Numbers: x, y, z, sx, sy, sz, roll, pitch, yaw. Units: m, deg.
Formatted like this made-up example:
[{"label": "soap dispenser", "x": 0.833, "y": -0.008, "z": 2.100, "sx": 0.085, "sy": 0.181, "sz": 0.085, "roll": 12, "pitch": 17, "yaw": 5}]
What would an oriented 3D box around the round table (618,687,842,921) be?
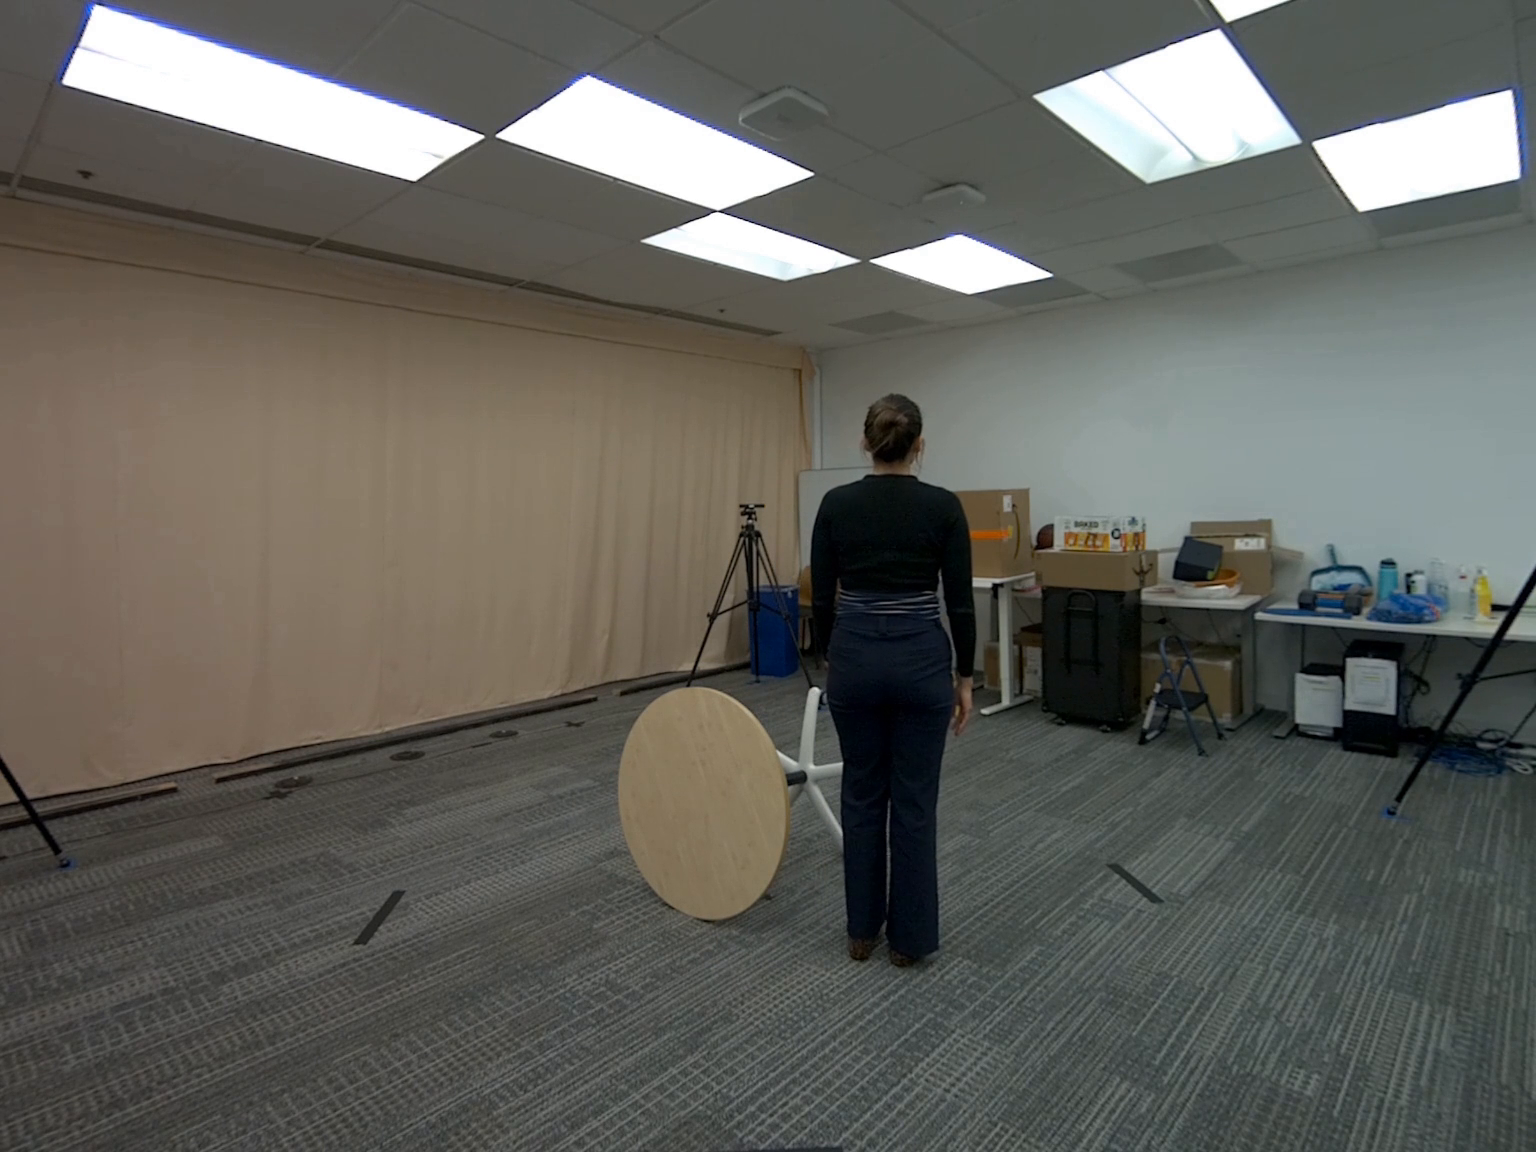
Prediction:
[{"label": "round table", "x": -0.008, "y": 0.794, "z": 3.180, "sx": 0.789, "sy": 0.765, "sz": 0.767, "roll": 2, "pitch": -2, "yaw": 39}]
